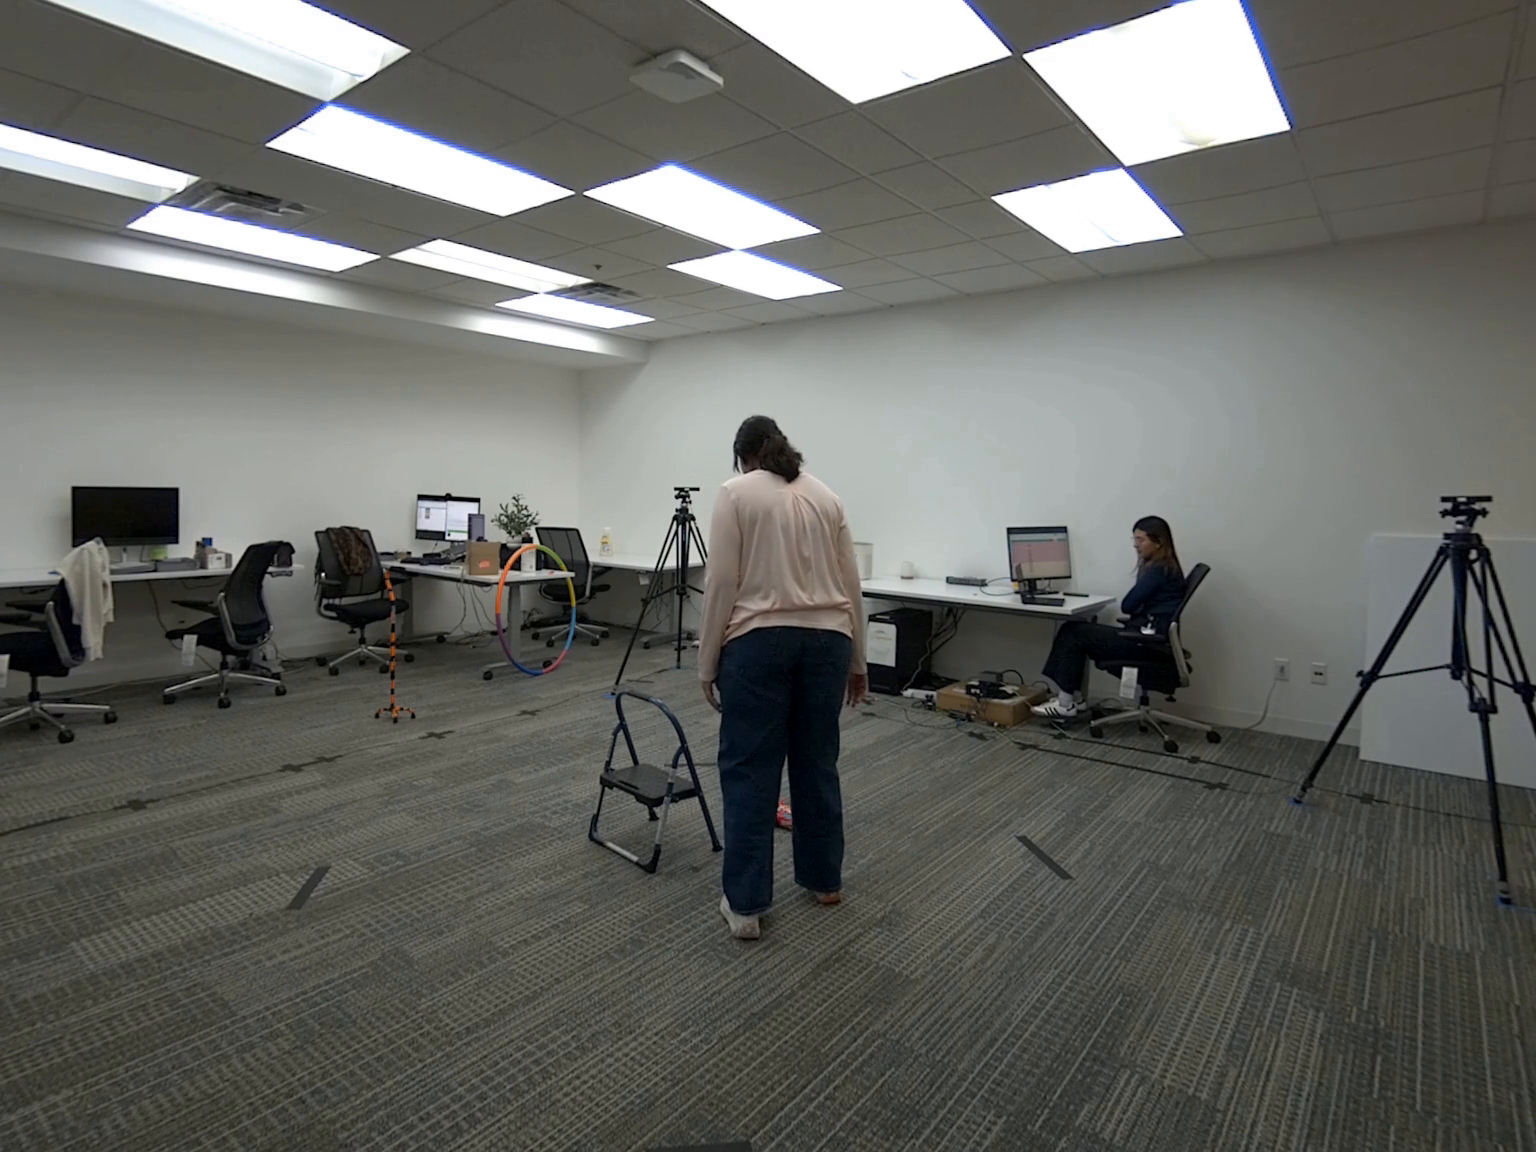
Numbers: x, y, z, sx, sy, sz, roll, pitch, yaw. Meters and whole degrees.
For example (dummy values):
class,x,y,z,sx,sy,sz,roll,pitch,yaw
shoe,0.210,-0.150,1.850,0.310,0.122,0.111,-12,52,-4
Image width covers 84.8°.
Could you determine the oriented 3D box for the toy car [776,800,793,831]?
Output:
class,x,y,z,sx,sy,sz,roll,pitch,yaw
toy car,0.089,0.997,3.509,0.265,0.082,0.126,20,14,41
